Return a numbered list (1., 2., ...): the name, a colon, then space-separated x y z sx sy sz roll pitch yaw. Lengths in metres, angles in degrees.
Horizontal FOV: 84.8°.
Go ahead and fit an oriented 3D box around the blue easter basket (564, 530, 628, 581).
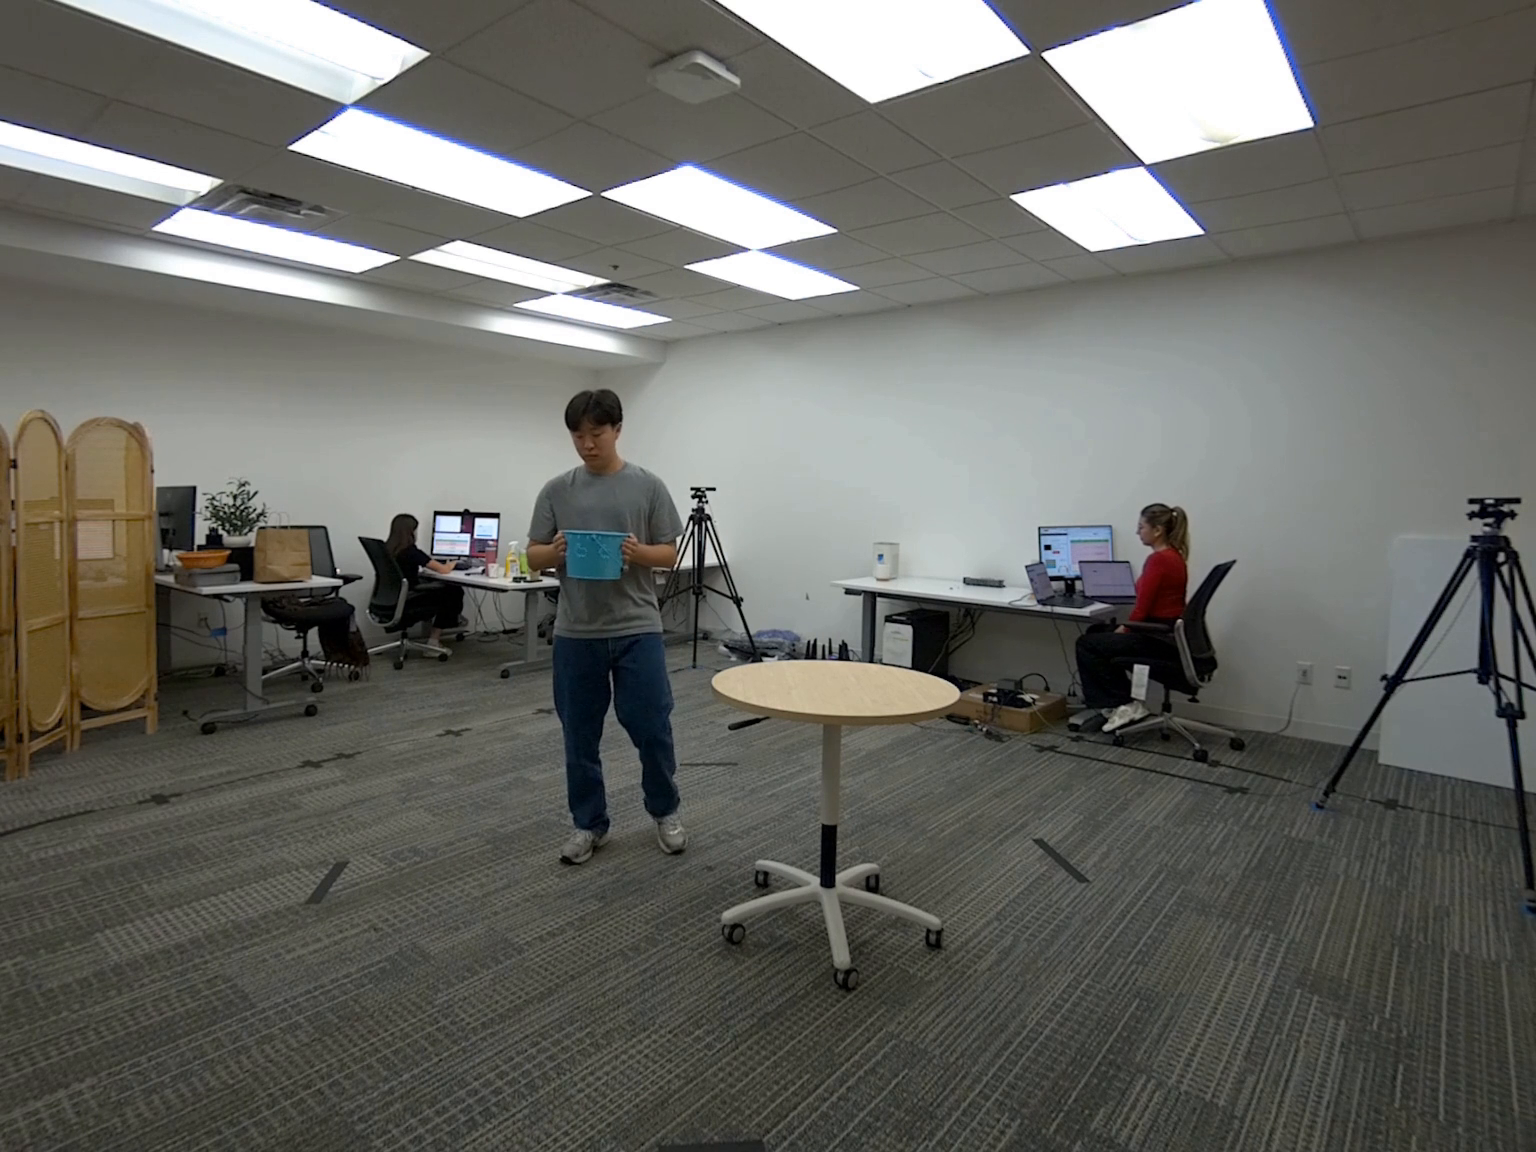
1. blue easter basket: -0.601 -0.078 2.905 0.243 0.156 0.244 3 3 -2
